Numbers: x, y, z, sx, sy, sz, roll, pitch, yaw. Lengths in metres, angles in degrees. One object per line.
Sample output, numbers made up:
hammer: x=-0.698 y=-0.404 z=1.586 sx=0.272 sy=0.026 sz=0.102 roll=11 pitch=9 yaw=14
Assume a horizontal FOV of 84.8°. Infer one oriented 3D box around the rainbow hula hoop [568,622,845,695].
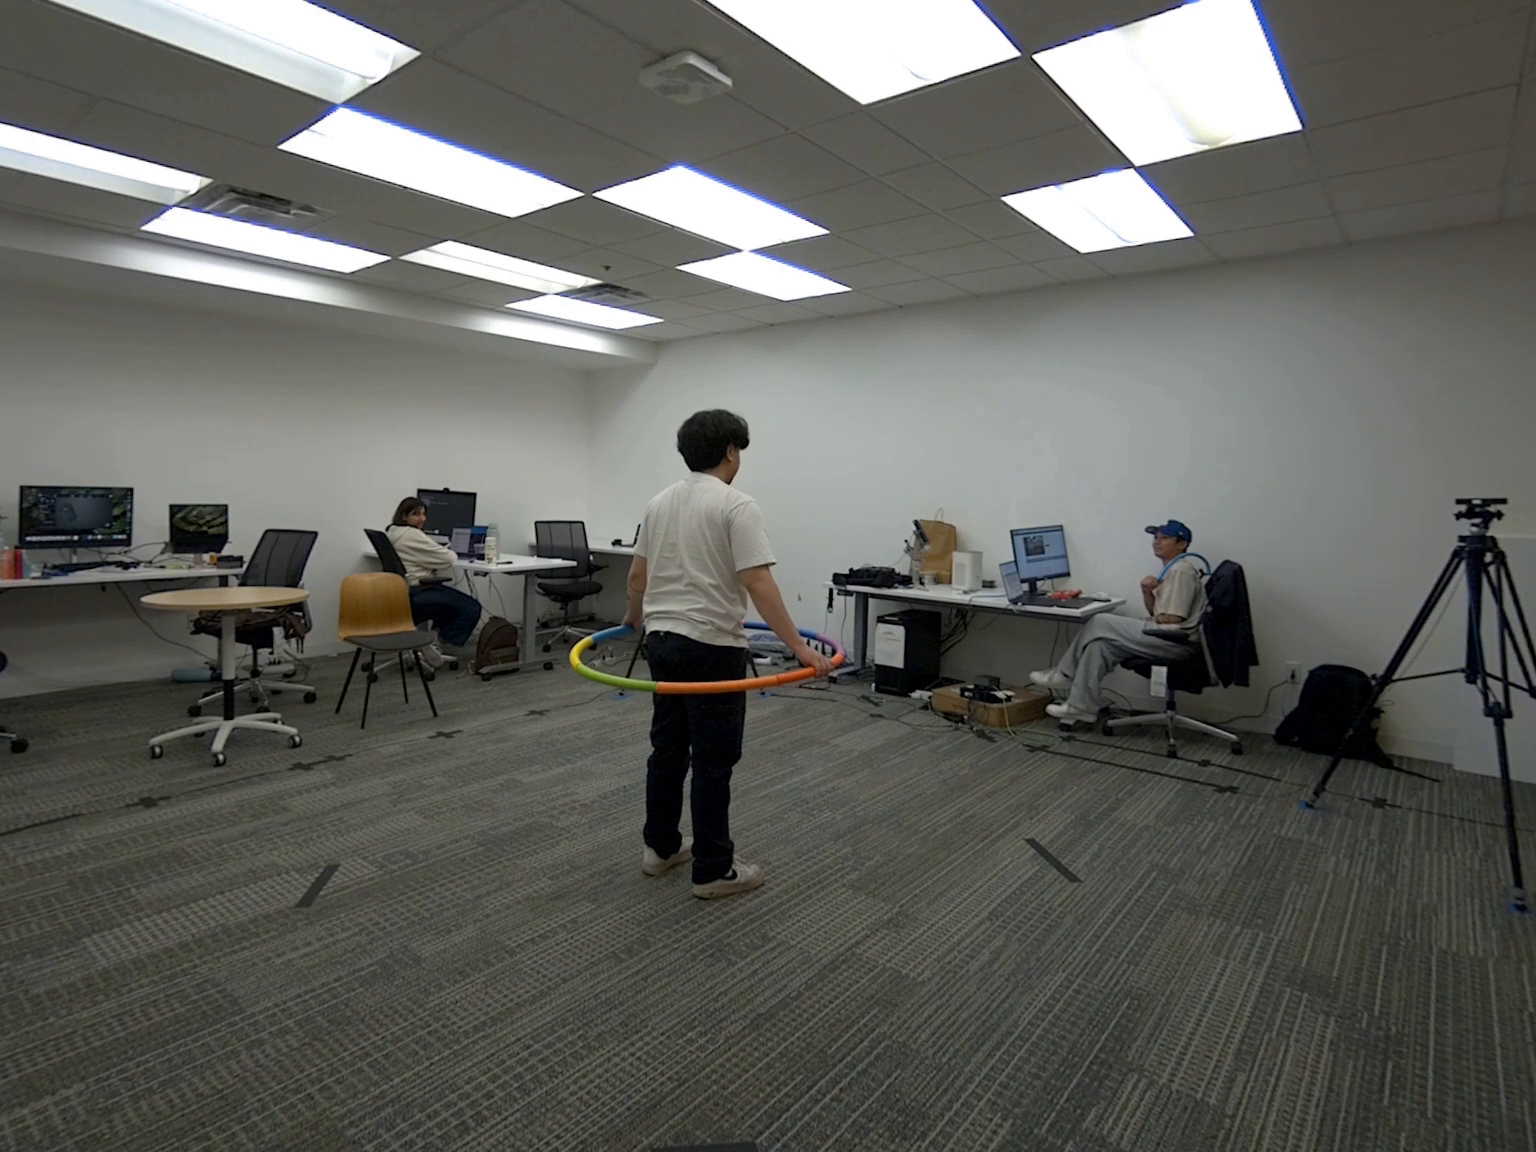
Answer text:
rainbow hula hoop: x=-0.226 y=0.262 z=3.076 sx=0.985 sy=0.051 sz=0.993 roll=-1 pitch=9 yaw=-2
